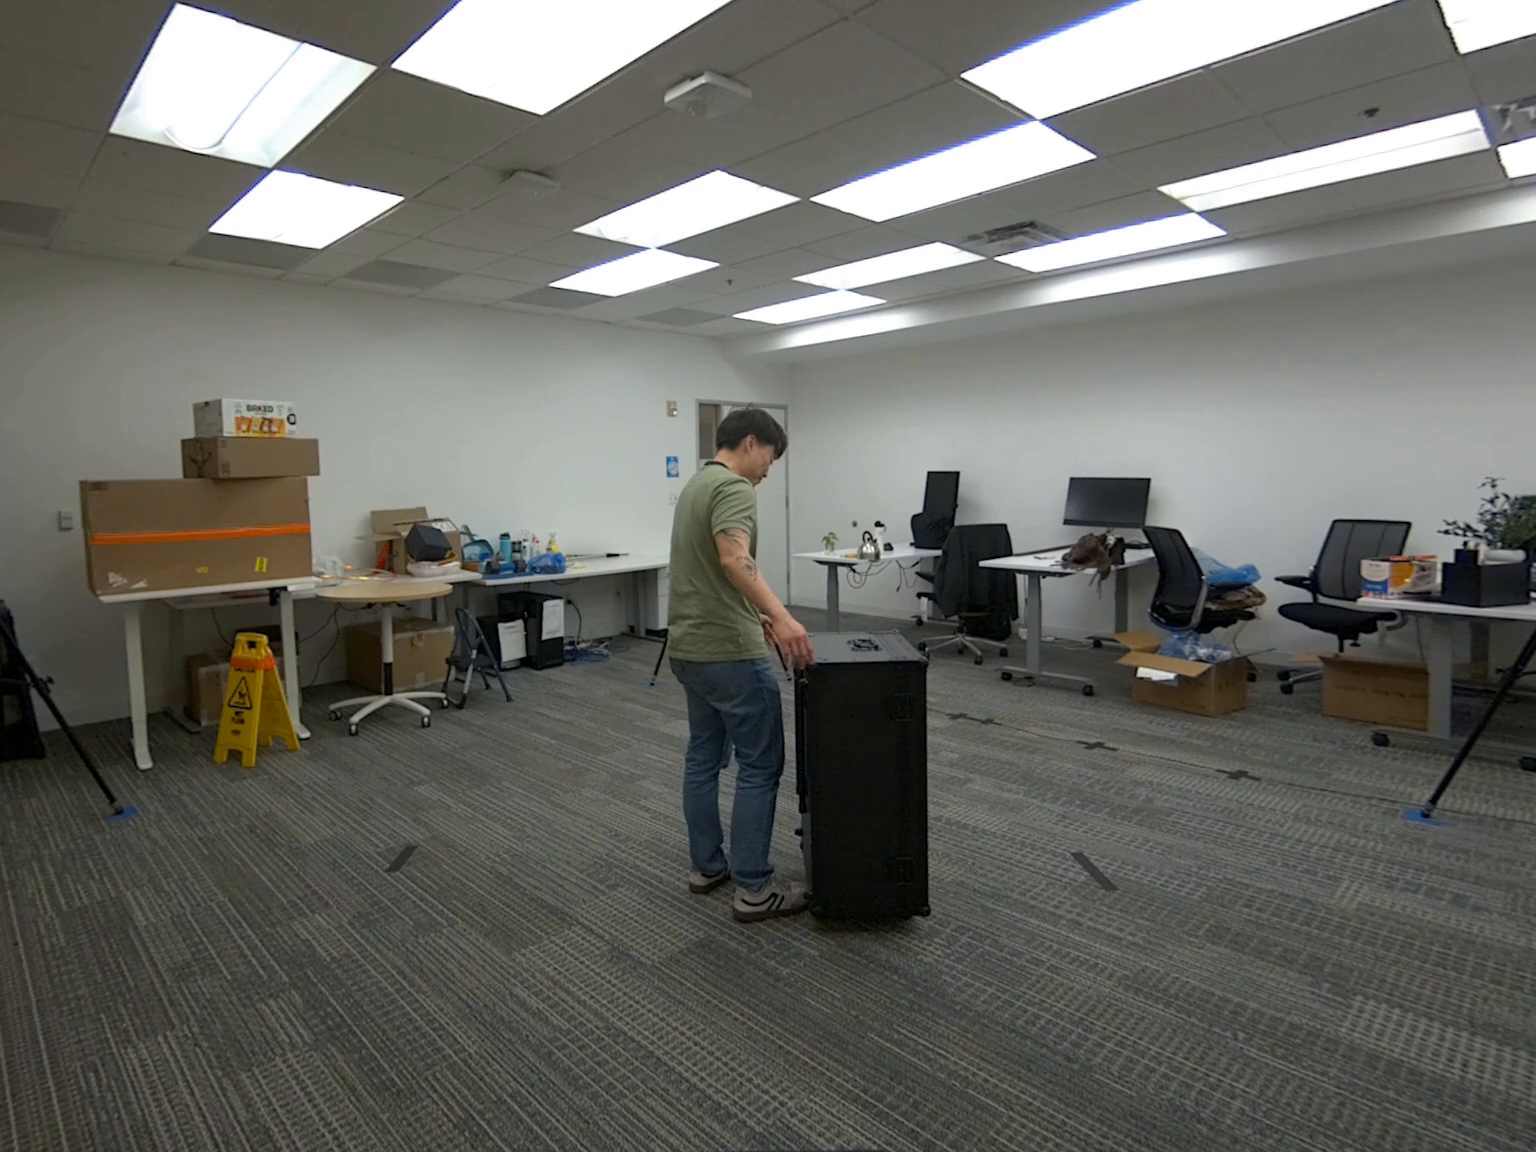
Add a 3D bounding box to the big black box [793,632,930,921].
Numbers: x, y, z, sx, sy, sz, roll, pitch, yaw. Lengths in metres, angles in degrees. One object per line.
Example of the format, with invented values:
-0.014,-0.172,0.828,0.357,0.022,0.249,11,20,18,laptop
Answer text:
0.292,0.649,2.789,0.397,0.858,0.523,-1,5,1,big black box
